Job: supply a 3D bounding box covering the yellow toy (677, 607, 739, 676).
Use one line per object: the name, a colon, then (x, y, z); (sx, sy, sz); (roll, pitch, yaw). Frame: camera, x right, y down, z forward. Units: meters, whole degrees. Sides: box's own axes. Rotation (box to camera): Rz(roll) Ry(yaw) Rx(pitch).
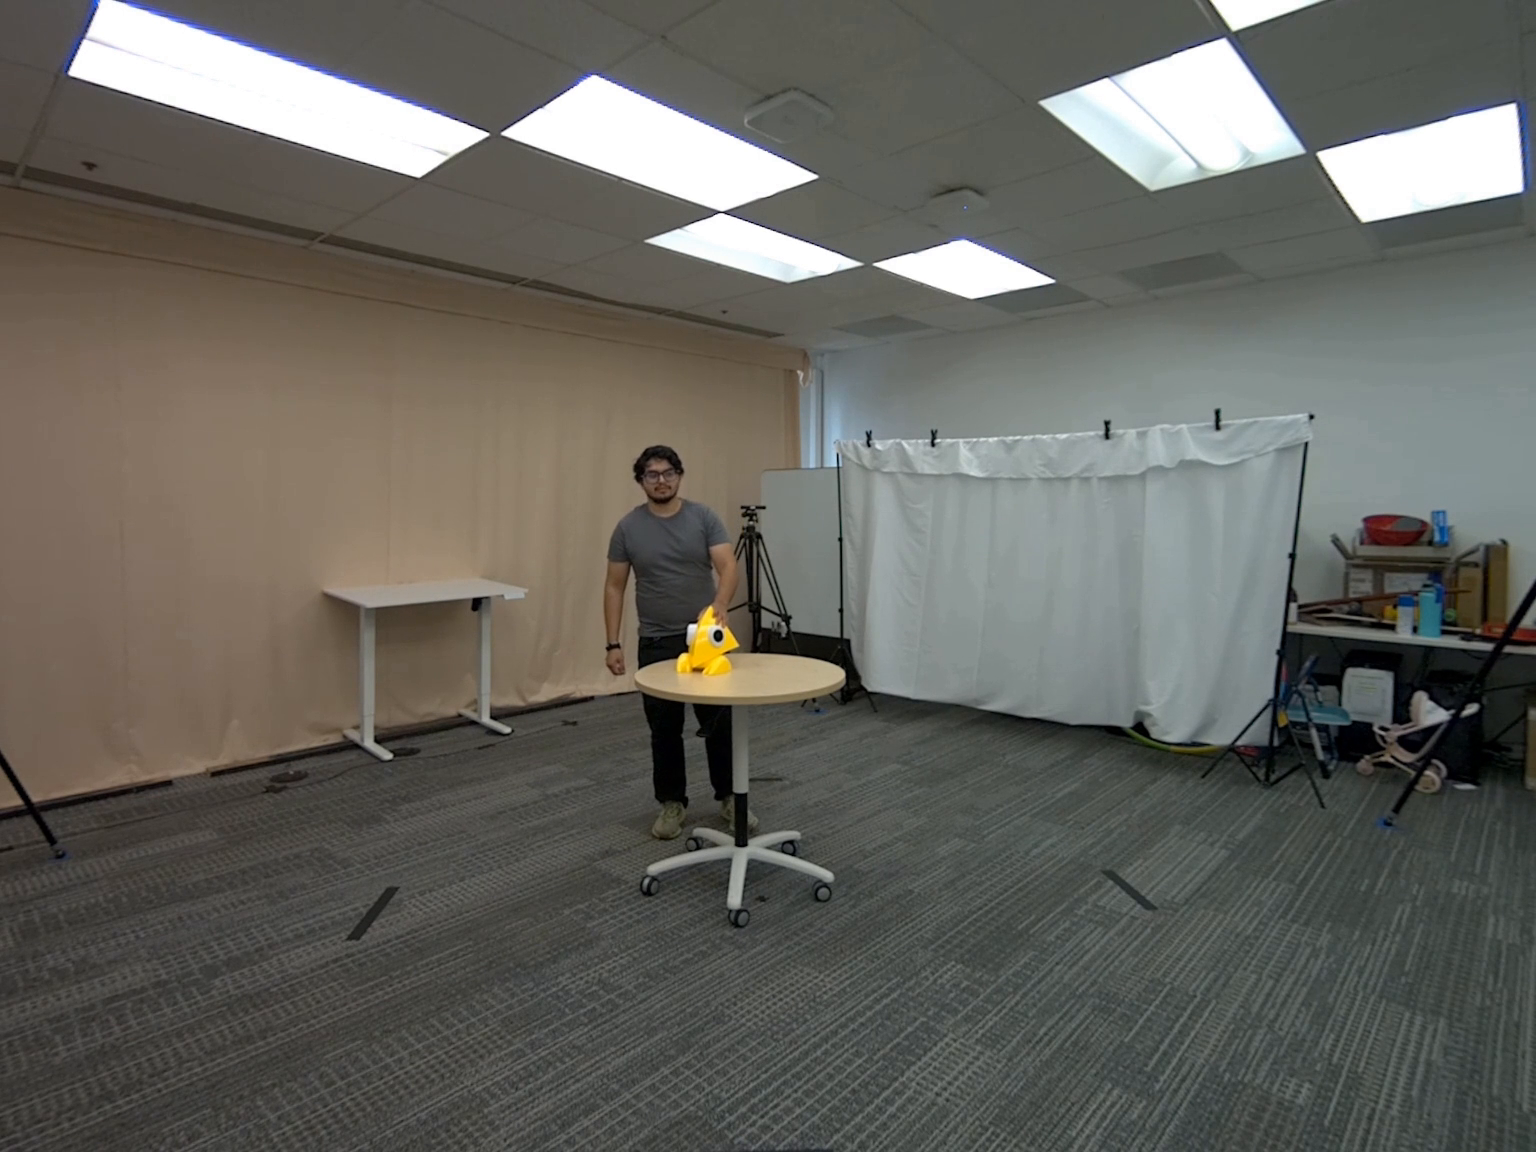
yellow toy: (-0.230, 0.237, 3.137); (0.210, 0.230, 0.189); (0, 4, 24)
